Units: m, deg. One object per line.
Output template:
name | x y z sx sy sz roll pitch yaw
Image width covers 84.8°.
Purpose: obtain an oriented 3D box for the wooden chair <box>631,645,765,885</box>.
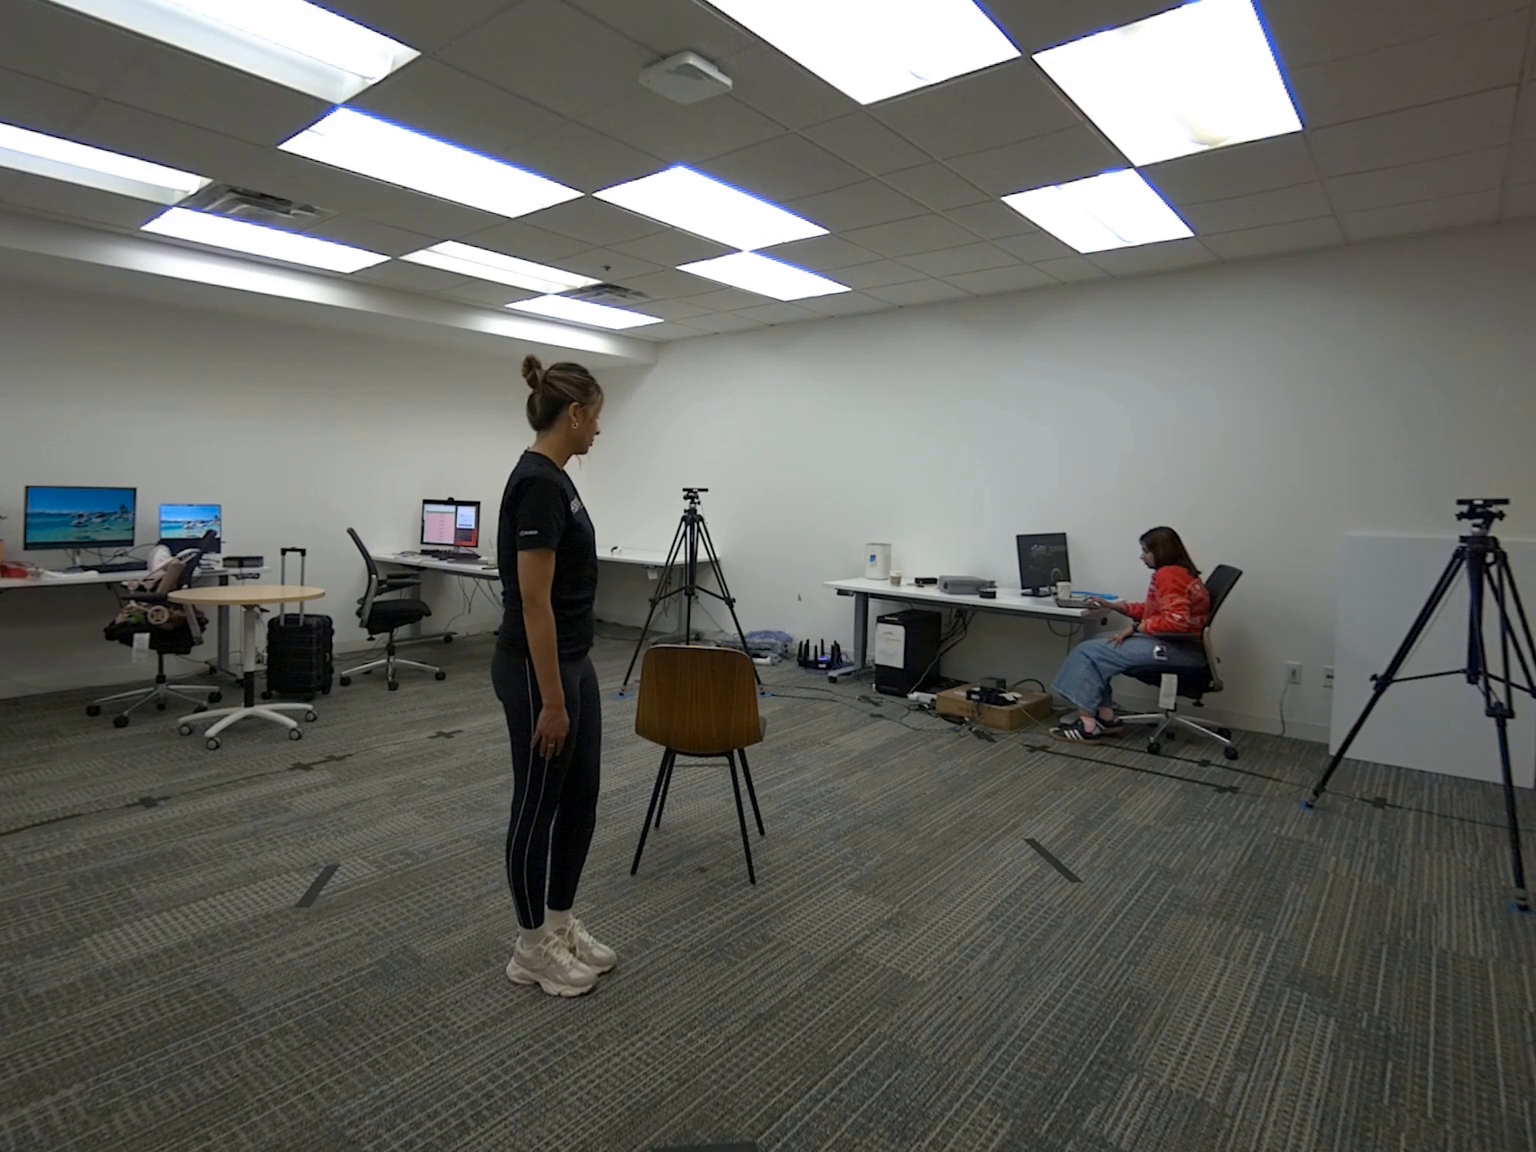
wooden chair | -0.257 0.629 3.227 0.482 0.872 0.523 1 7 6
